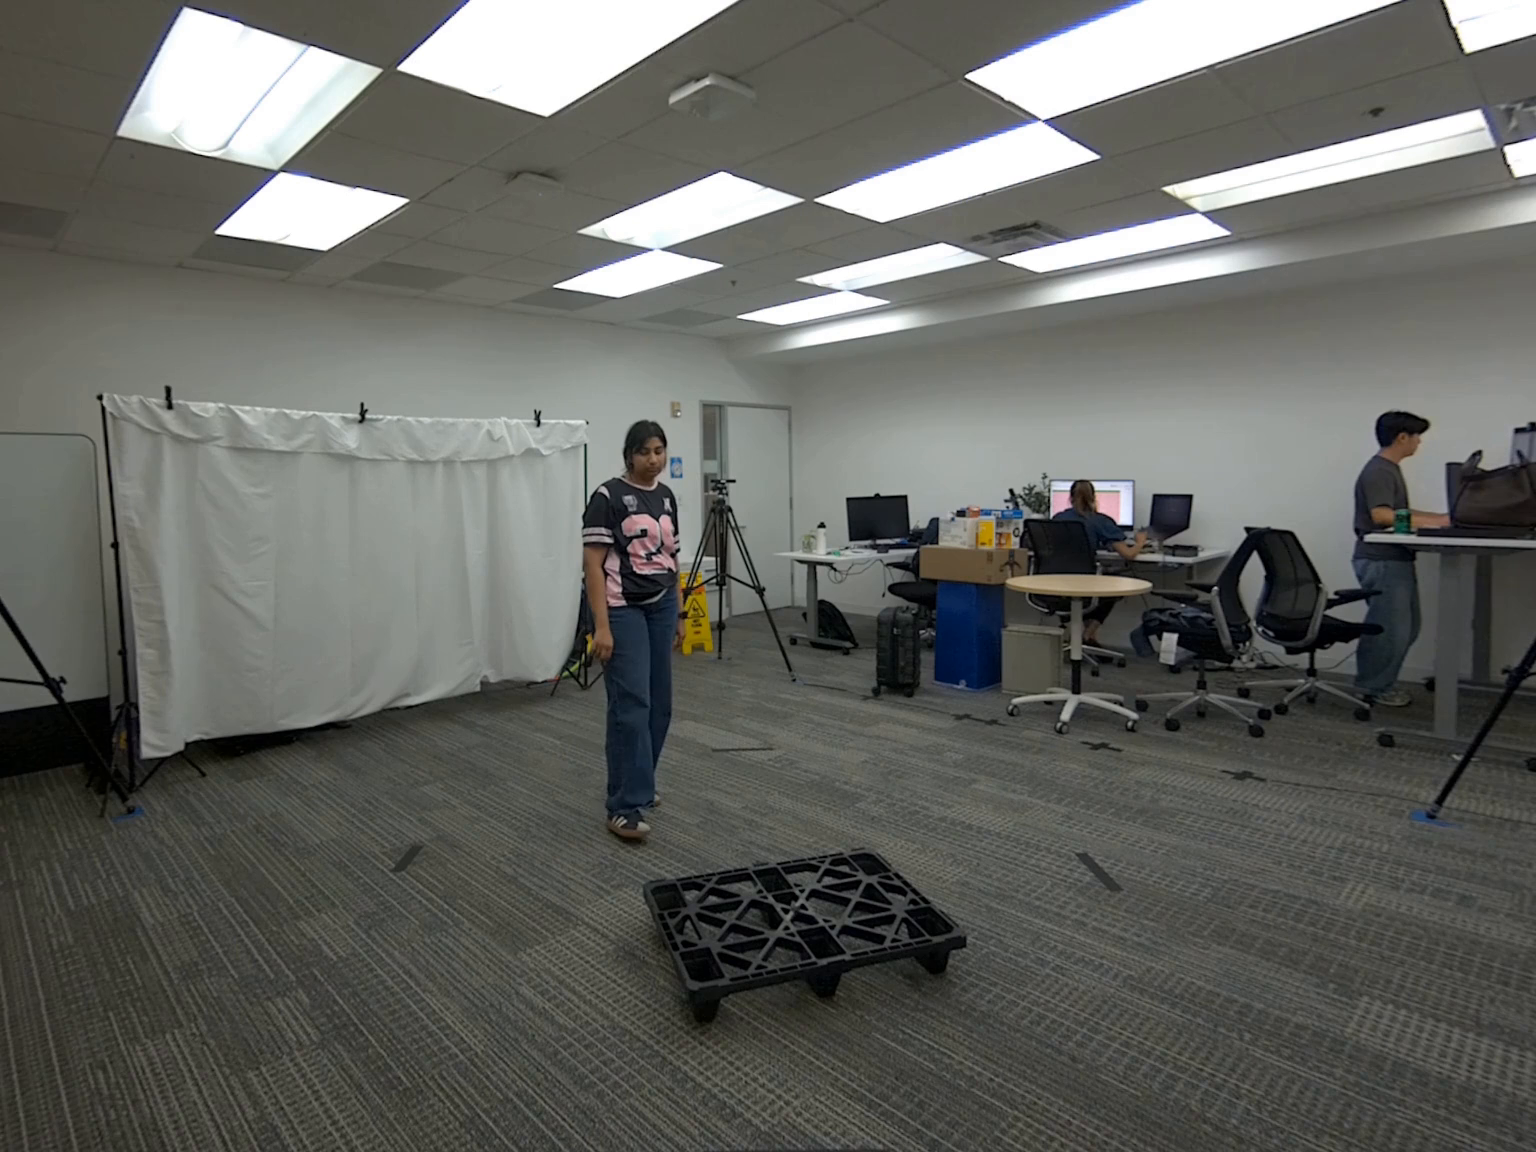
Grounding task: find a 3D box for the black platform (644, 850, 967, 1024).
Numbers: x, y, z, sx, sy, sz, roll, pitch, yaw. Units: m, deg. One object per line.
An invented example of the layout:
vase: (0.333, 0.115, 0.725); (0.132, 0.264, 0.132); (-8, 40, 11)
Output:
black platform: (0.089, 1.044, 2.523); (0.793, 0.142, 0.618); (-3, 7, -17)
